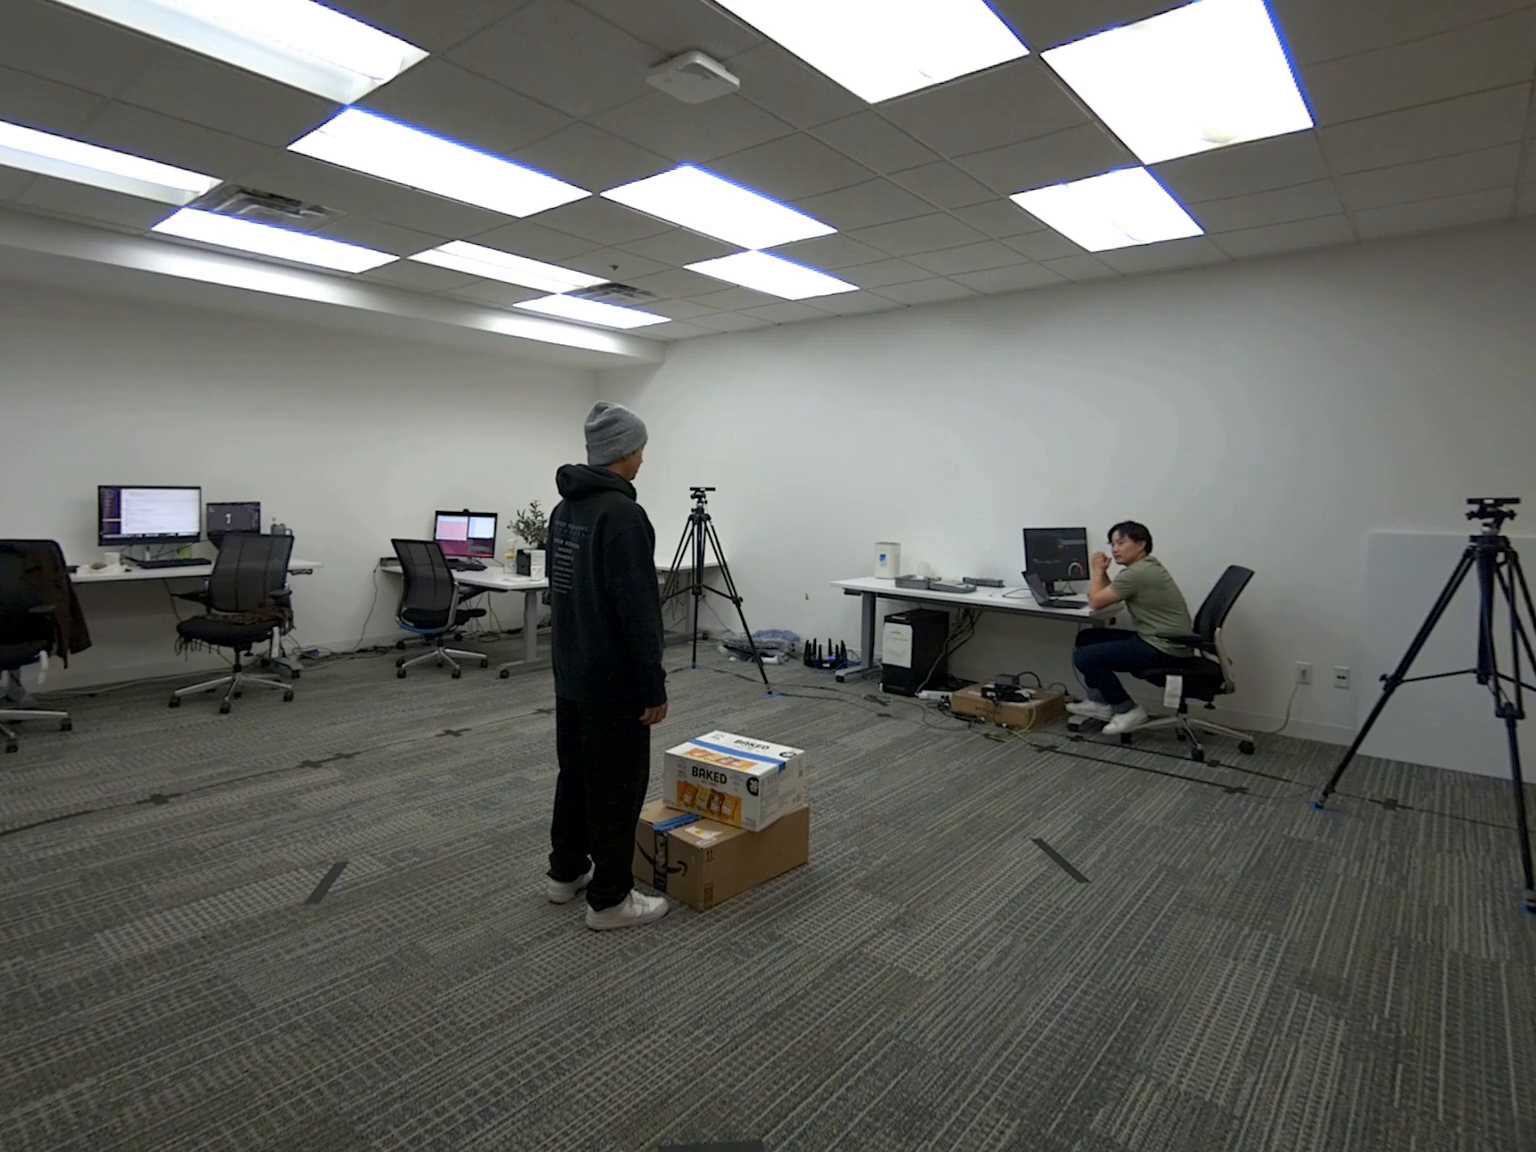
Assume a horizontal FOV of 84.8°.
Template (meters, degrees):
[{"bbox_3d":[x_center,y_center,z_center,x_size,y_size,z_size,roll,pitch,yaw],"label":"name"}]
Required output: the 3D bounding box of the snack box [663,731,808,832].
[{"bbox_3d":[-0.134,0.745,3.142,0.418,0.205,0.331,5,7,32],"label":"snack box"}]
